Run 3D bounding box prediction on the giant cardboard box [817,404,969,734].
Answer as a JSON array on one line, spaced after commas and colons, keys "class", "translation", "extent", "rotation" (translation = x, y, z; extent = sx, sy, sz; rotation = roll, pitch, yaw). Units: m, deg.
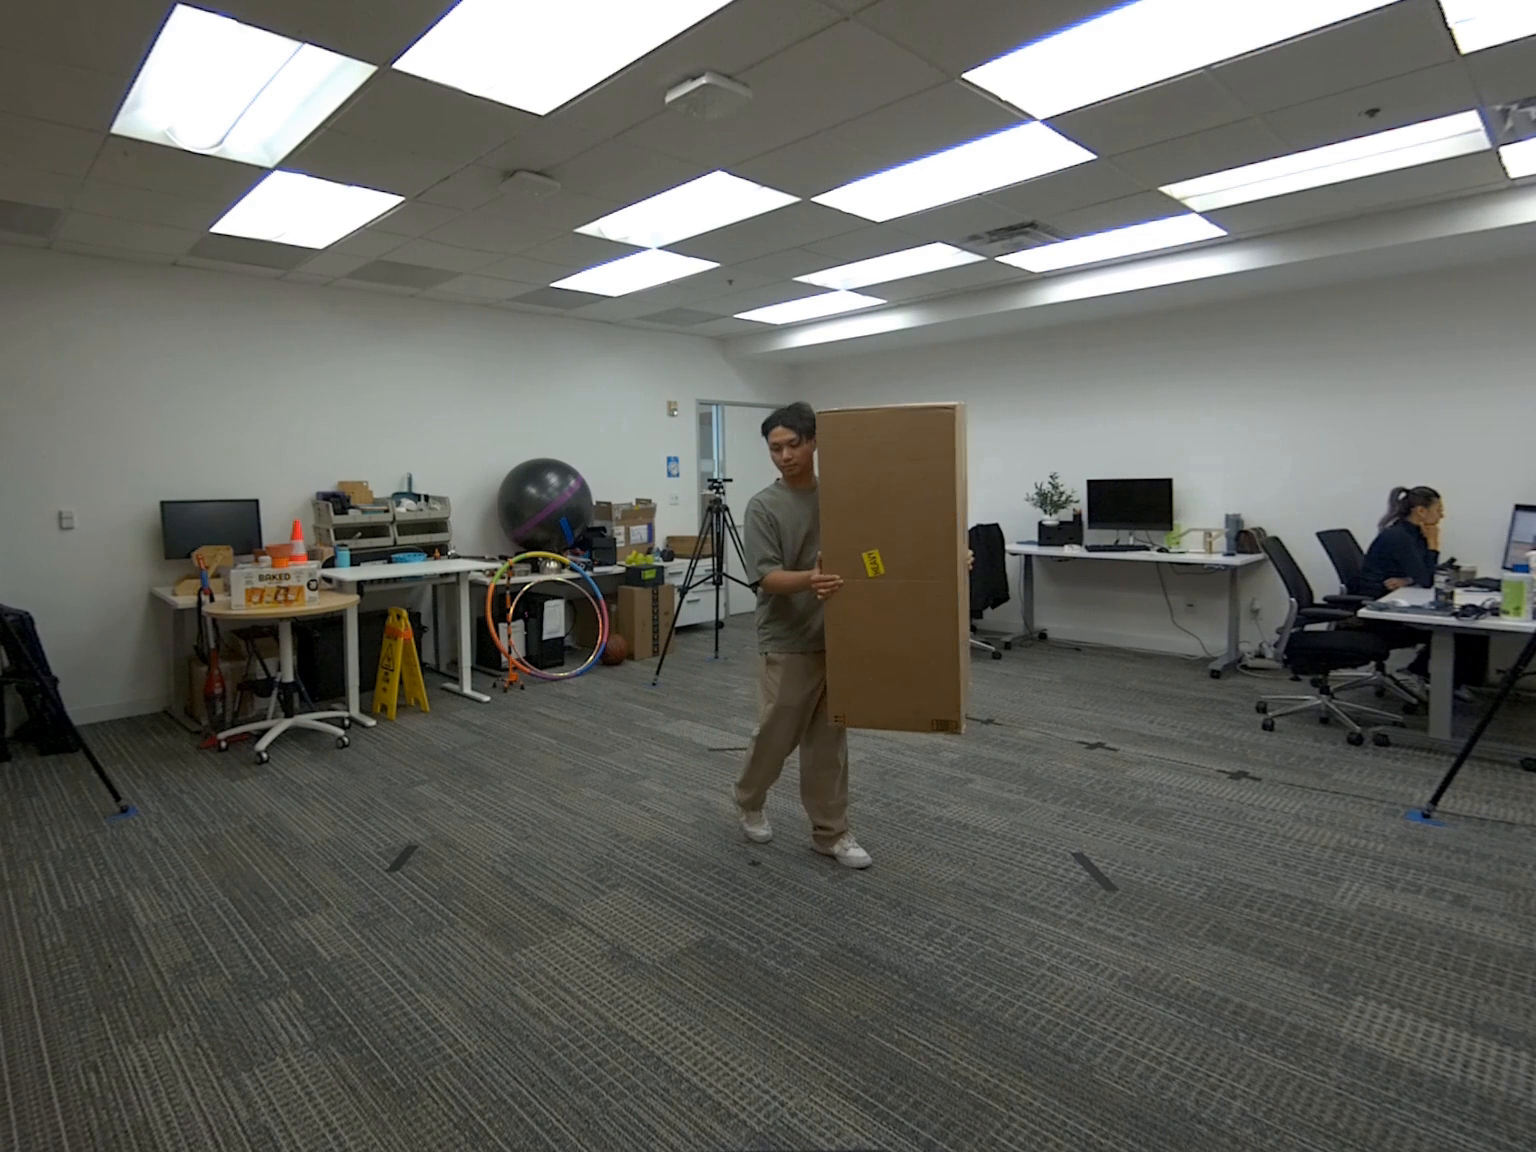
[{"class": "giant cardboard box", "translation": [0.446, -0.063, 2.906], "extent": [0.434, 1.017, 0.572], "rotation": [0, 9, 18]}]
